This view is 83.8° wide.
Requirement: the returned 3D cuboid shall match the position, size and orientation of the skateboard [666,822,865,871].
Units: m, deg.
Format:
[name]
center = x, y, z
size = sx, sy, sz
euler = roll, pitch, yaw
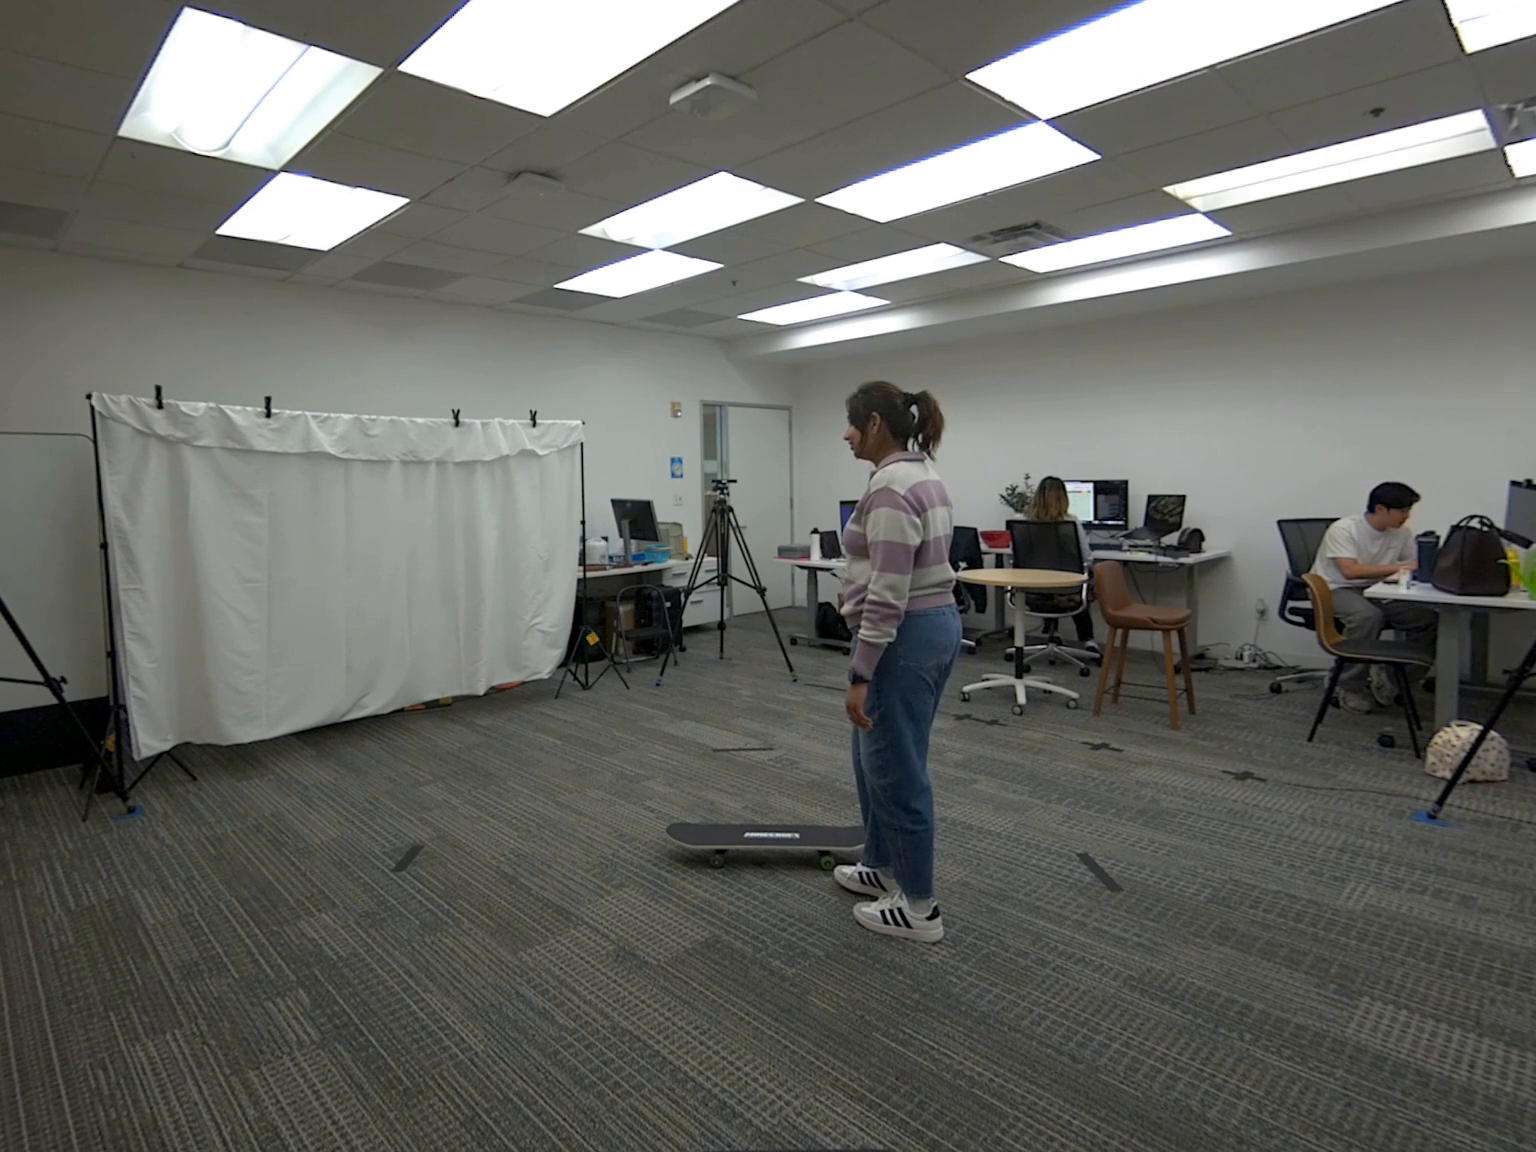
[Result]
[skateboard]
center = 0.020, 0.983, 3.142
size = 0.789, 0.110, 0.193
euler = 0, 6, 5
